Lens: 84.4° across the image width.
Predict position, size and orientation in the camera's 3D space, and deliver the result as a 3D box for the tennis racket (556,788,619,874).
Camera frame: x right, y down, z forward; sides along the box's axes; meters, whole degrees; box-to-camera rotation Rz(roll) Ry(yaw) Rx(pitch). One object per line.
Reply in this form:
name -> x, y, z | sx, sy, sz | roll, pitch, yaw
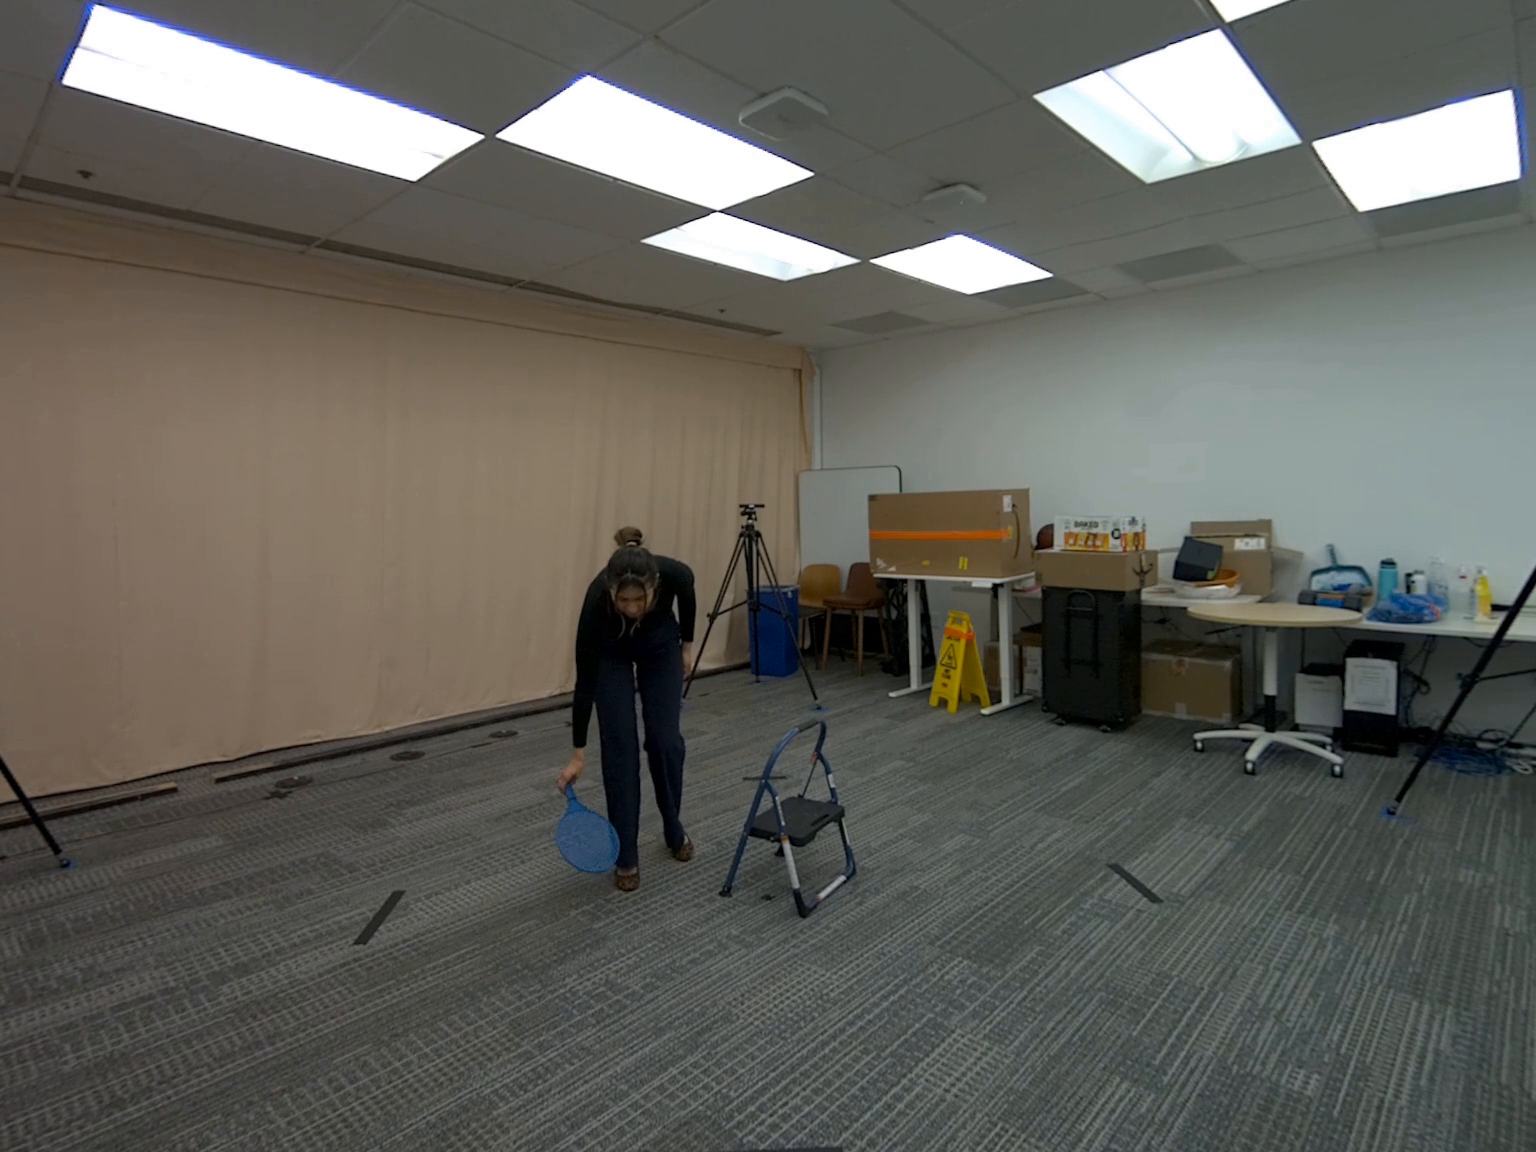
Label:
tennis racket -> -0.636, 0.856, 2.947 | 0.208, 0.031, 0.448 | -7, 36, -33
